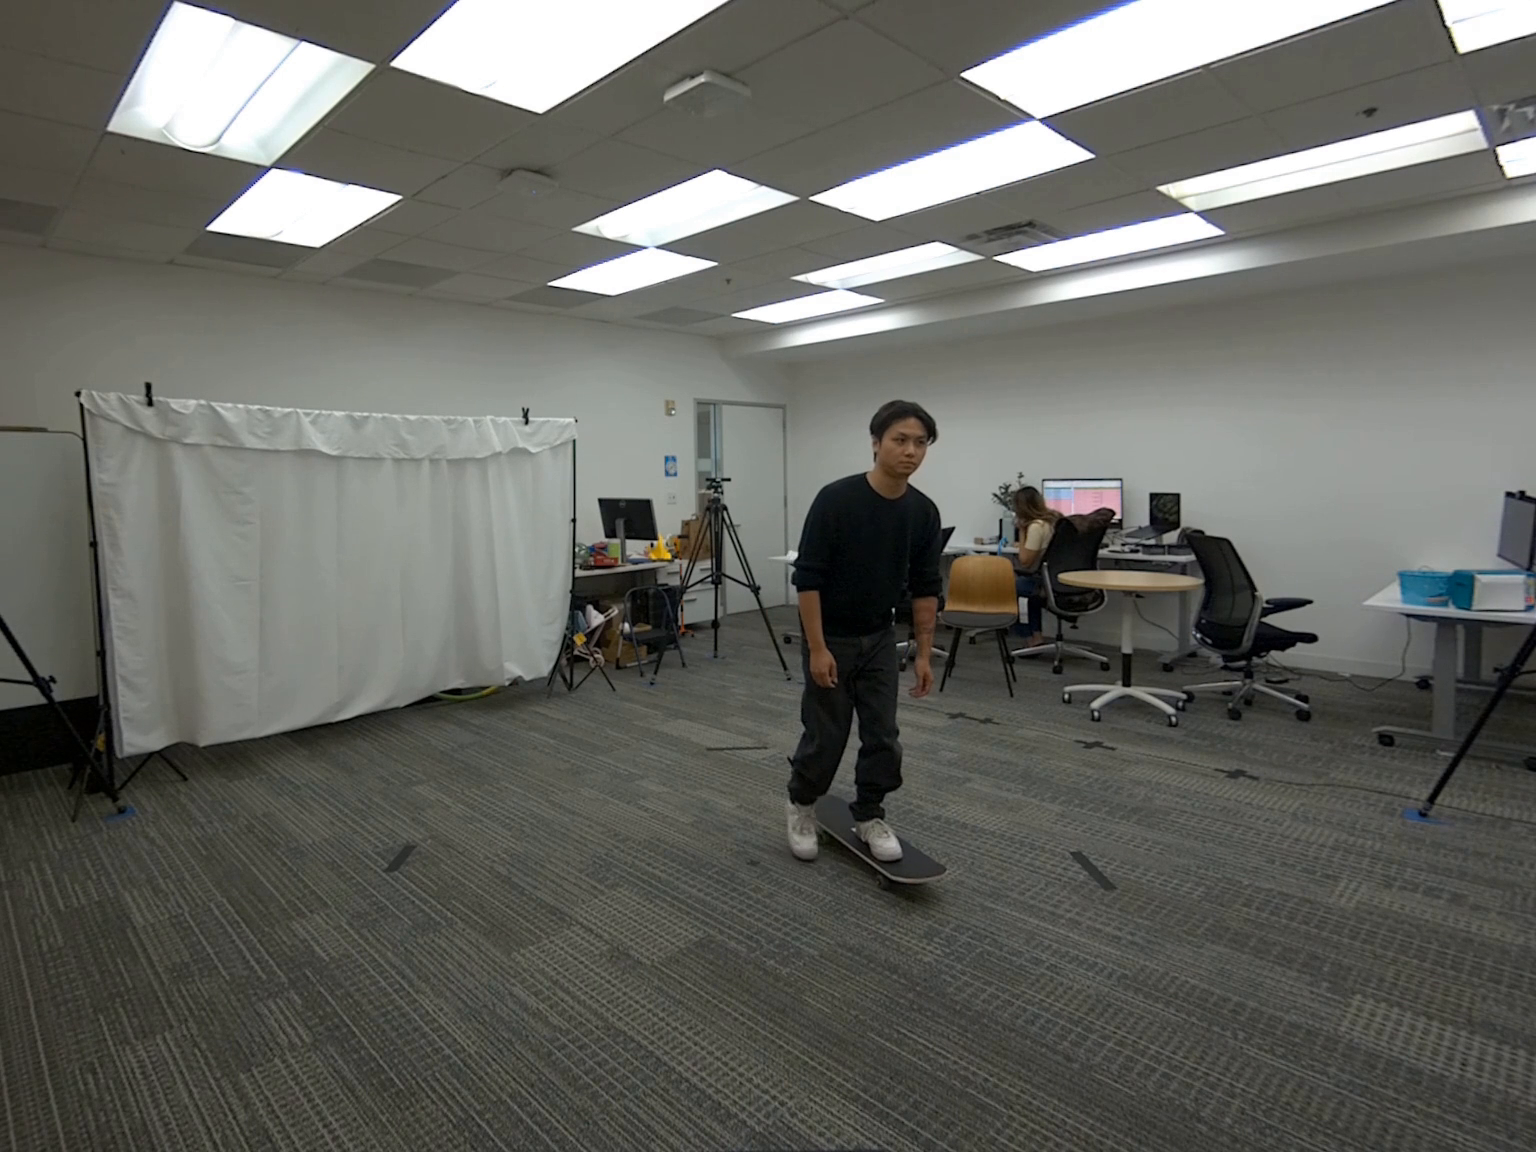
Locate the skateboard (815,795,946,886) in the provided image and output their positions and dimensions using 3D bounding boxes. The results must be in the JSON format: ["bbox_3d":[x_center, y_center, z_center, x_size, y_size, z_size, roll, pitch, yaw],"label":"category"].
[{"bbox_3d":[0.375,0.980,3.100,0.190,0.110,0.804,-5,7,-24],"label":"skateboard"}]
